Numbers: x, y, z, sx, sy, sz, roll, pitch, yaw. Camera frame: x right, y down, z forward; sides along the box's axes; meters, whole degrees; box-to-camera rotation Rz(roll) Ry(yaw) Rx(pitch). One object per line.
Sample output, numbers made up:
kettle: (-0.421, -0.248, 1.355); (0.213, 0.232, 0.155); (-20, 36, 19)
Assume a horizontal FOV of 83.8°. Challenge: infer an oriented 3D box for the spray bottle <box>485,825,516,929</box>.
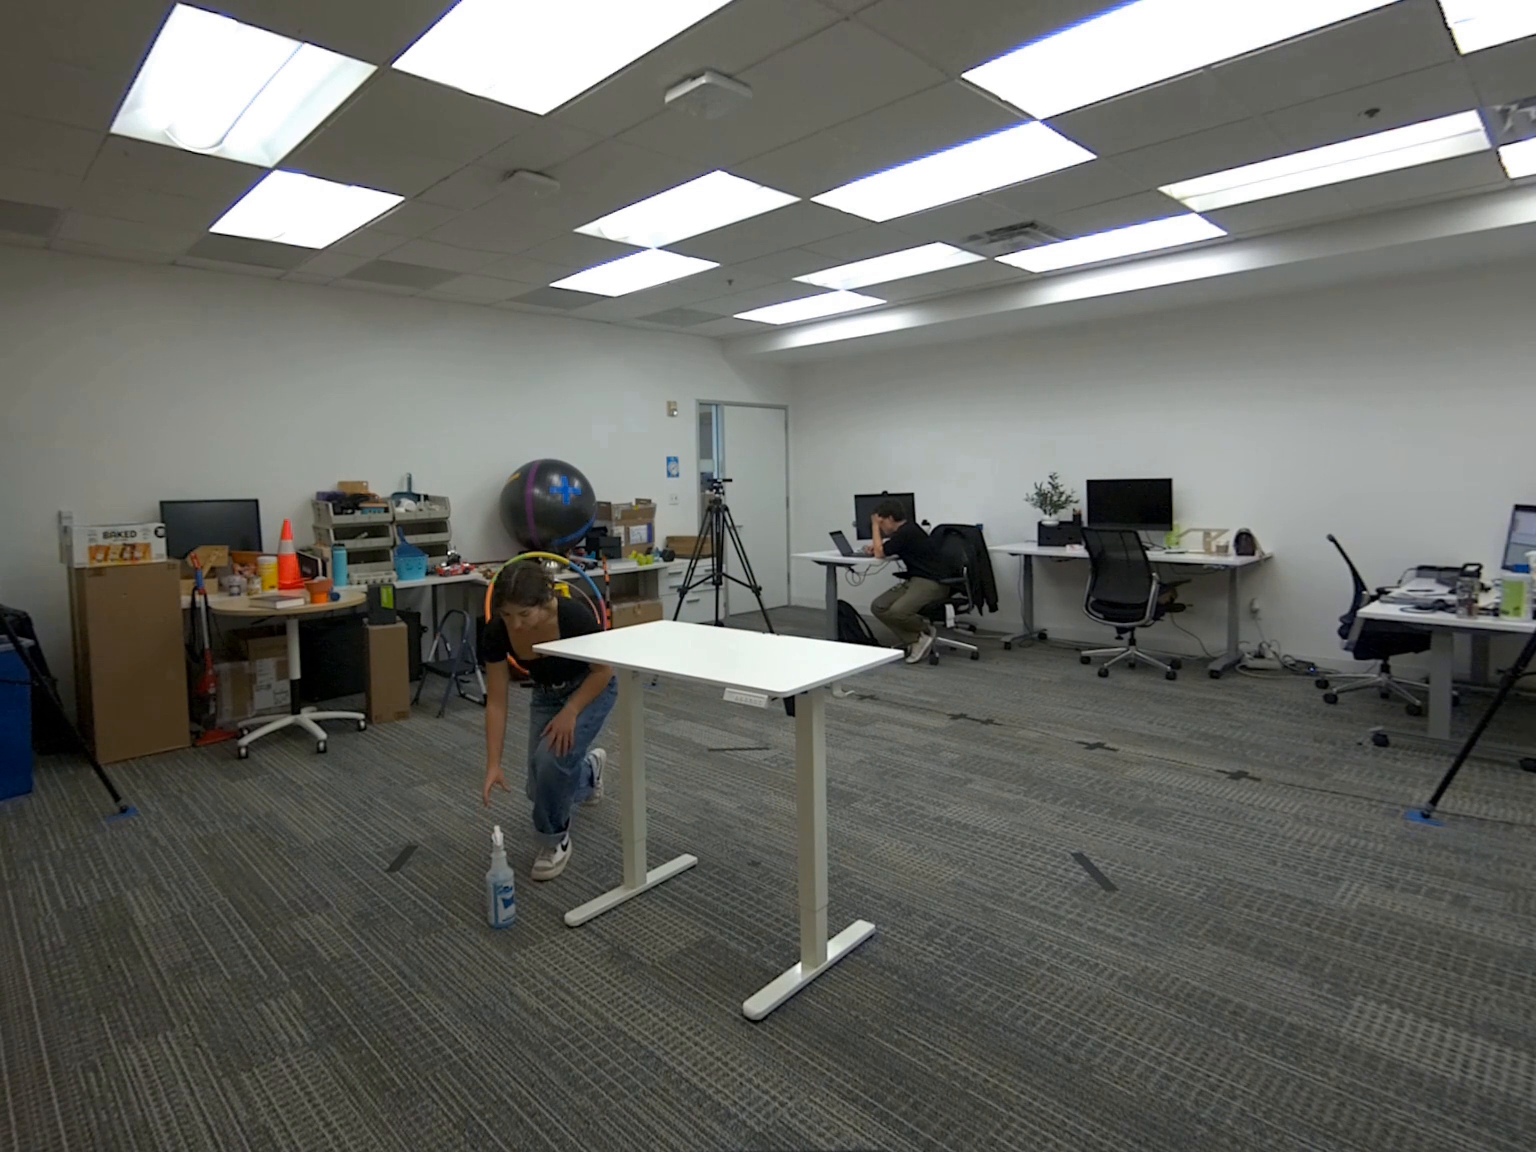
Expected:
spray bottle: (-0.856, 0.964, 2.721); (0.087, 0.296, 0.090); (0, 3, 5)
